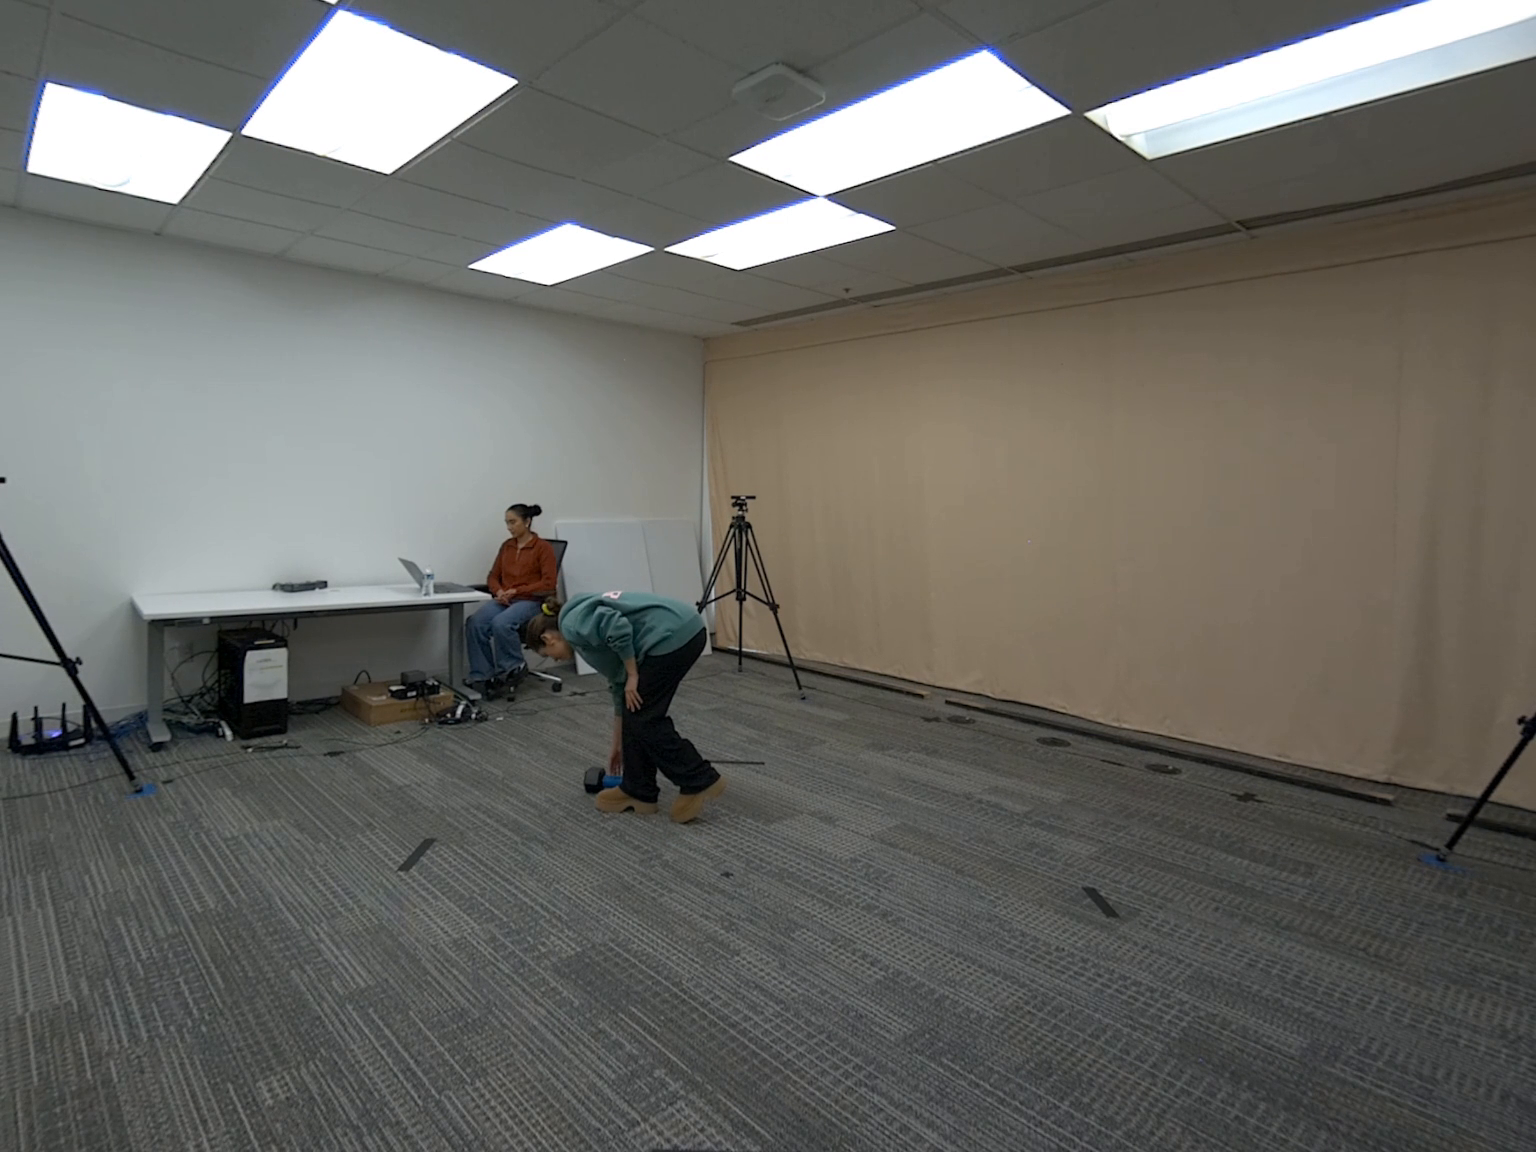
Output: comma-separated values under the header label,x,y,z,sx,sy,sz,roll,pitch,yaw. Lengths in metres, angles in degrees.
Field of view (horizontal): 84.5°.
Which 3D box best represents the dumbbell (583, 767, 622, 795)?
label,x,y,z,sx,sy,sz,roll,pitch,yaw
dumbbell,-0.716,0.965,3.929,0.296,0.125,0.106,3,-25,11
